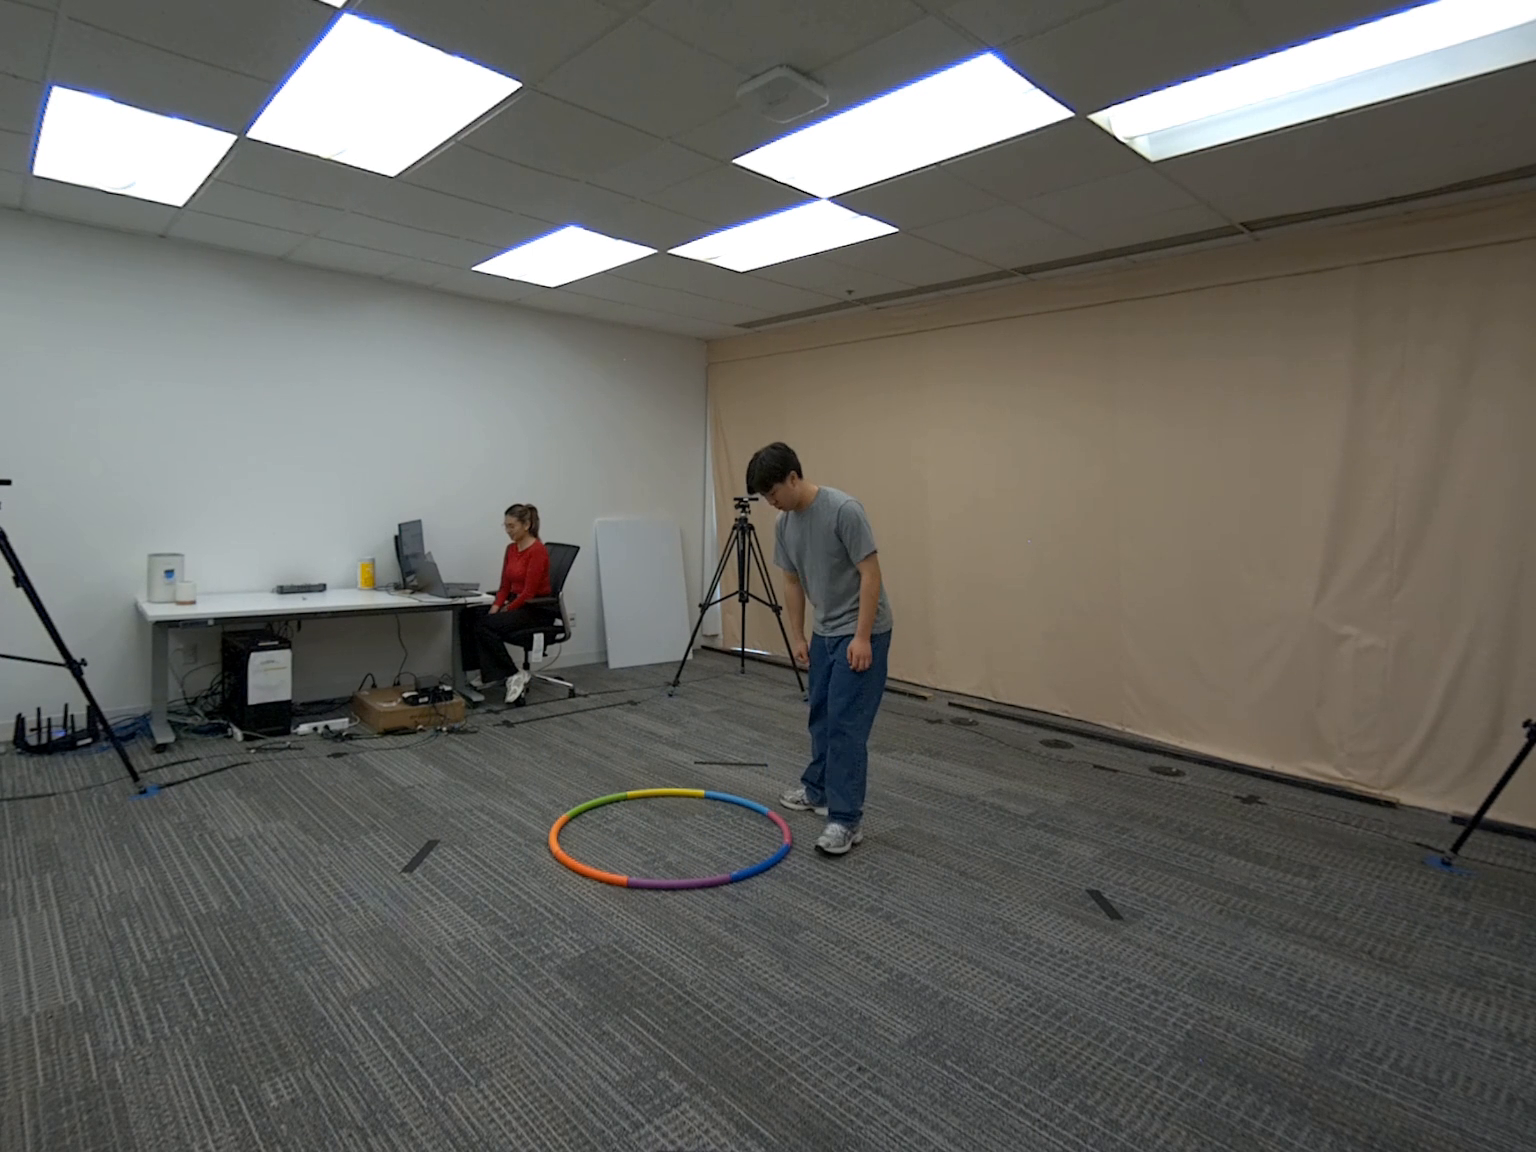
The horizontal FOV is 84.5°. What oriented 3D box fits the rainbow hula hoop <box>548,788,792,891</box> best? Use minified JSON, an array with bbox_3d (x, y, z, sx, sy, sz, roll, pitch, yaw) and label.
[{"bbox_3d":[-0.409,1.041,3.462,0.978,0.035,0.982,1,5,-1],"label":"rainbow hula hoop"}]
